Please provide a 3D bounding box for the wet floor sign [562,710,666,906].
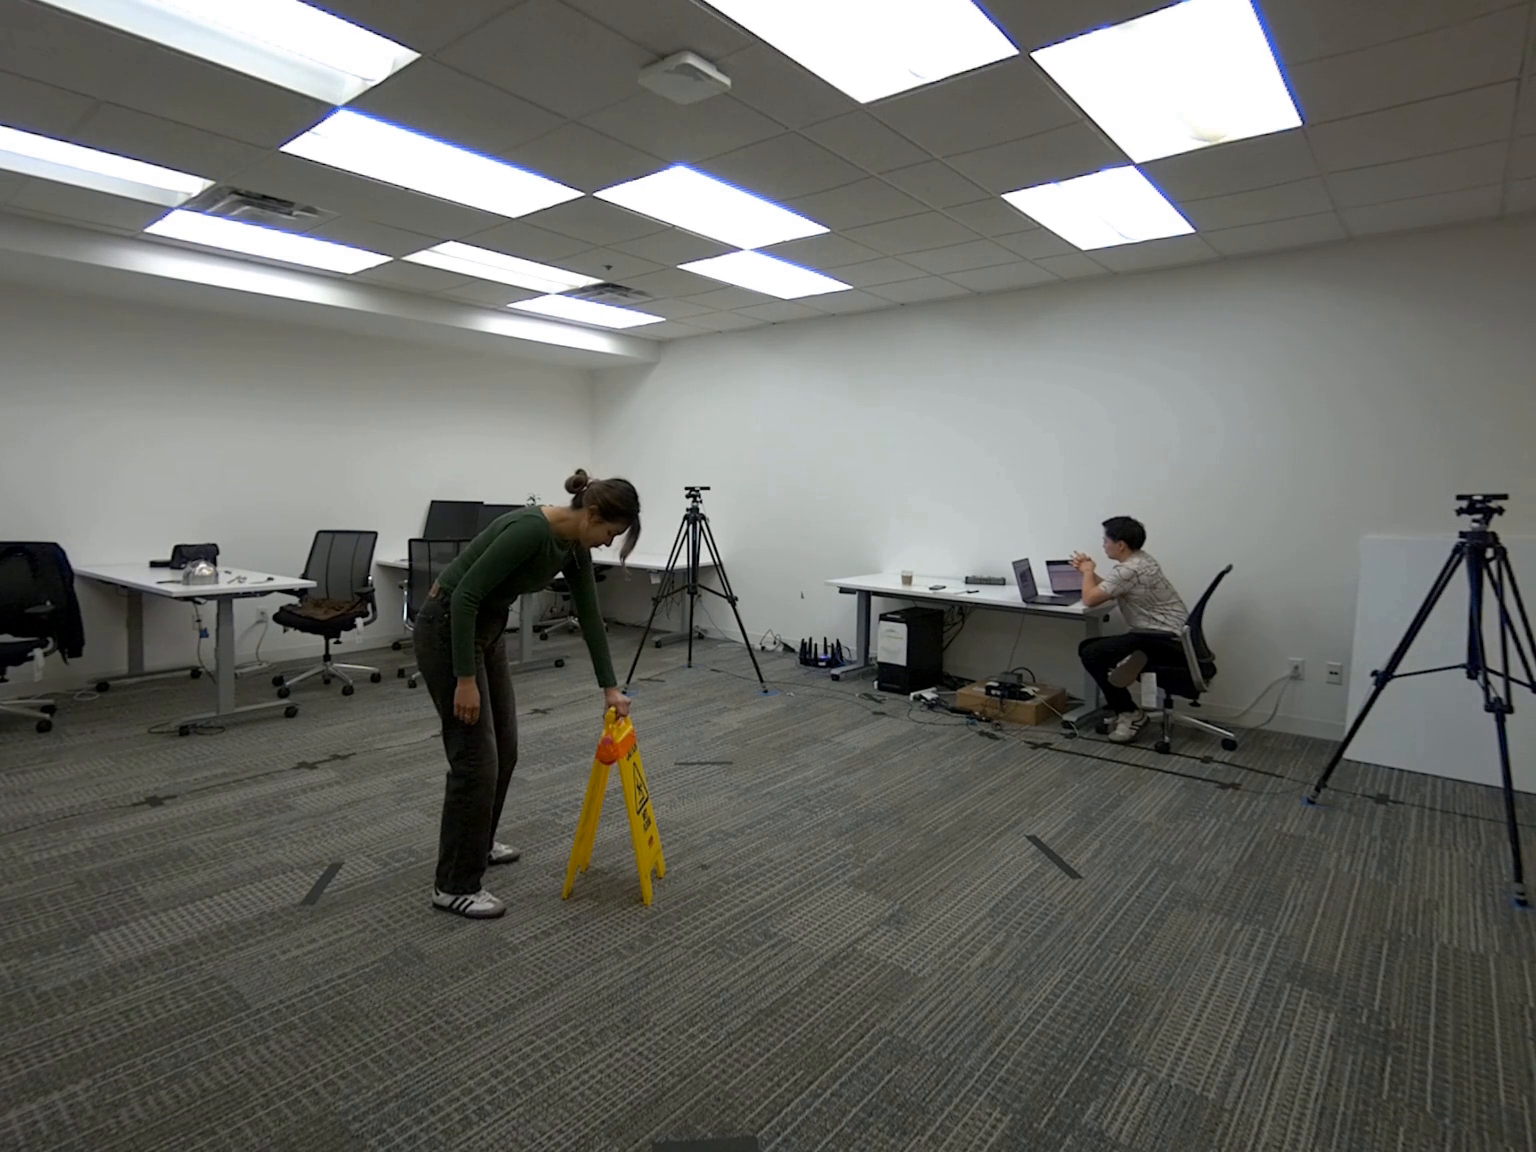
[{"bbox_3d":[-0.531,0.759,2.946,0.292,0.643,0.281,3,5,6],"label":"wet floor sign"}]
